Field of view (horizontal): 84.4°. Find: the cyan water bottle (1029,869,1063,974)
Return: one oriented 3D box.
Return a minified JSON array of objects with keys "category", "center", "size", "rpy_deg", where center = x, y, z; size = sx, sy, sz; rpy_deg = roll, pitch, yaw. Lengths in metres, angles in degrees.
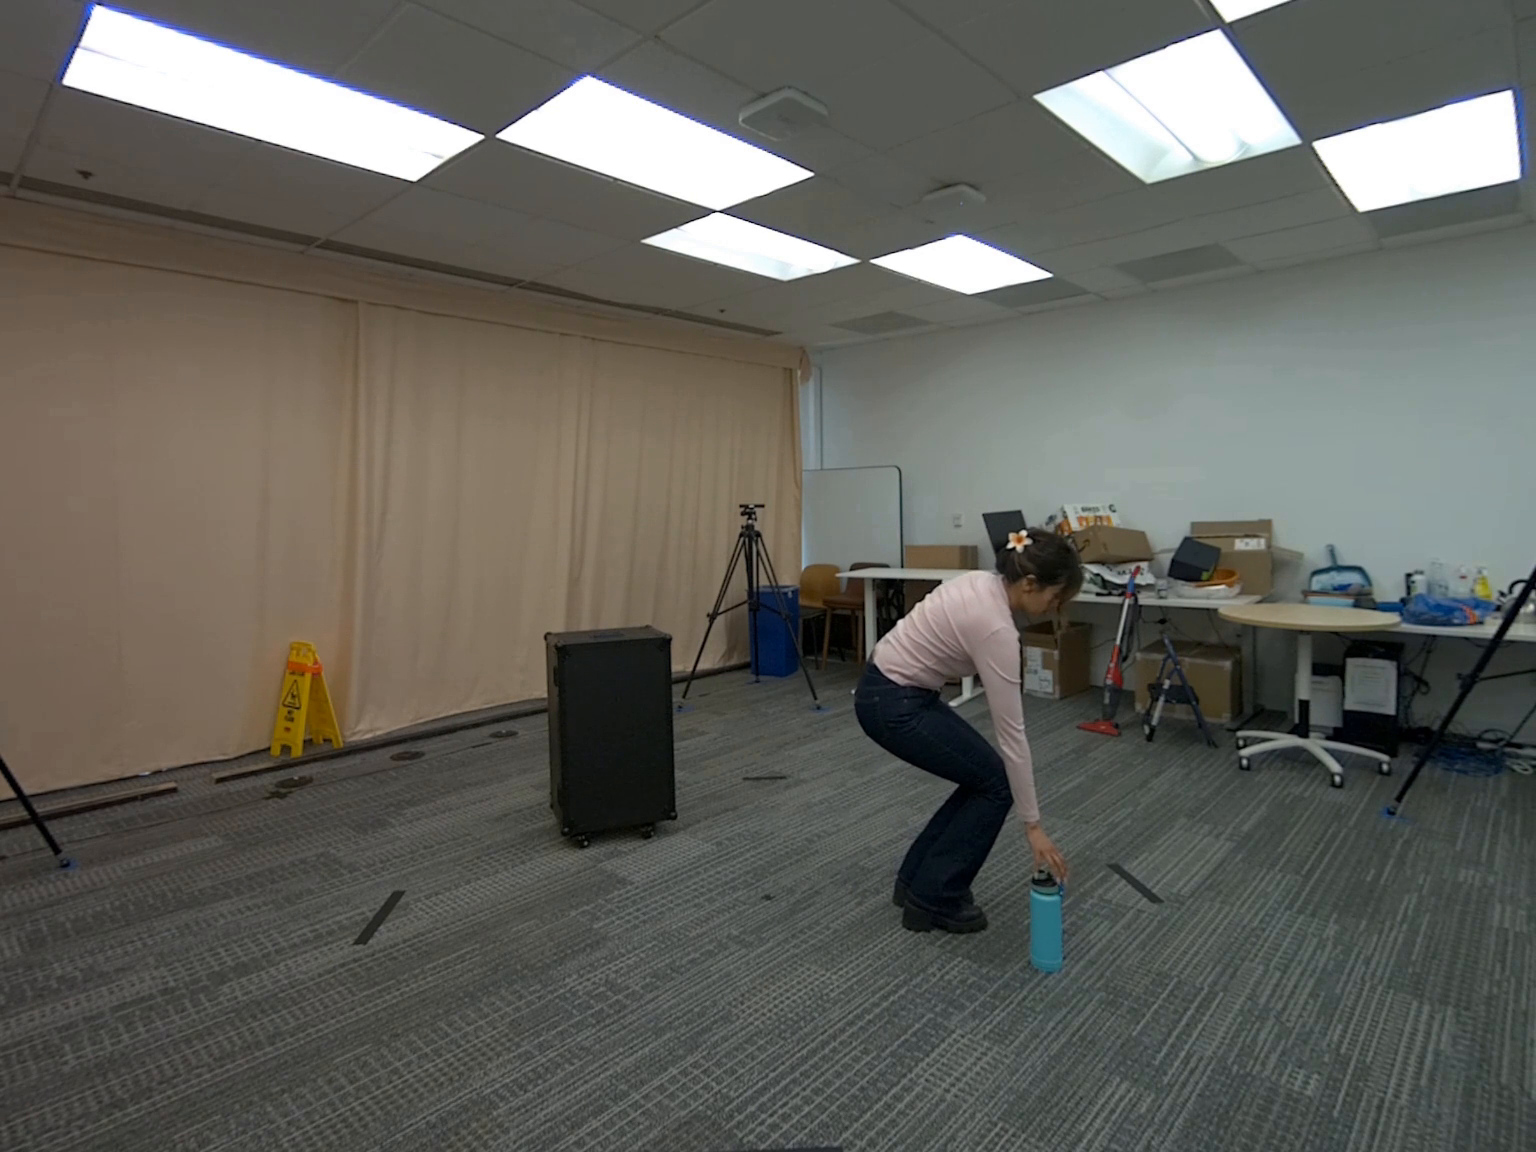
[{"category":"cyan water bottle","center":[0.844,1.025,2.516],"size":[0.092,0.283,0.092],"rpy_deg":[1,2,-2]}]
